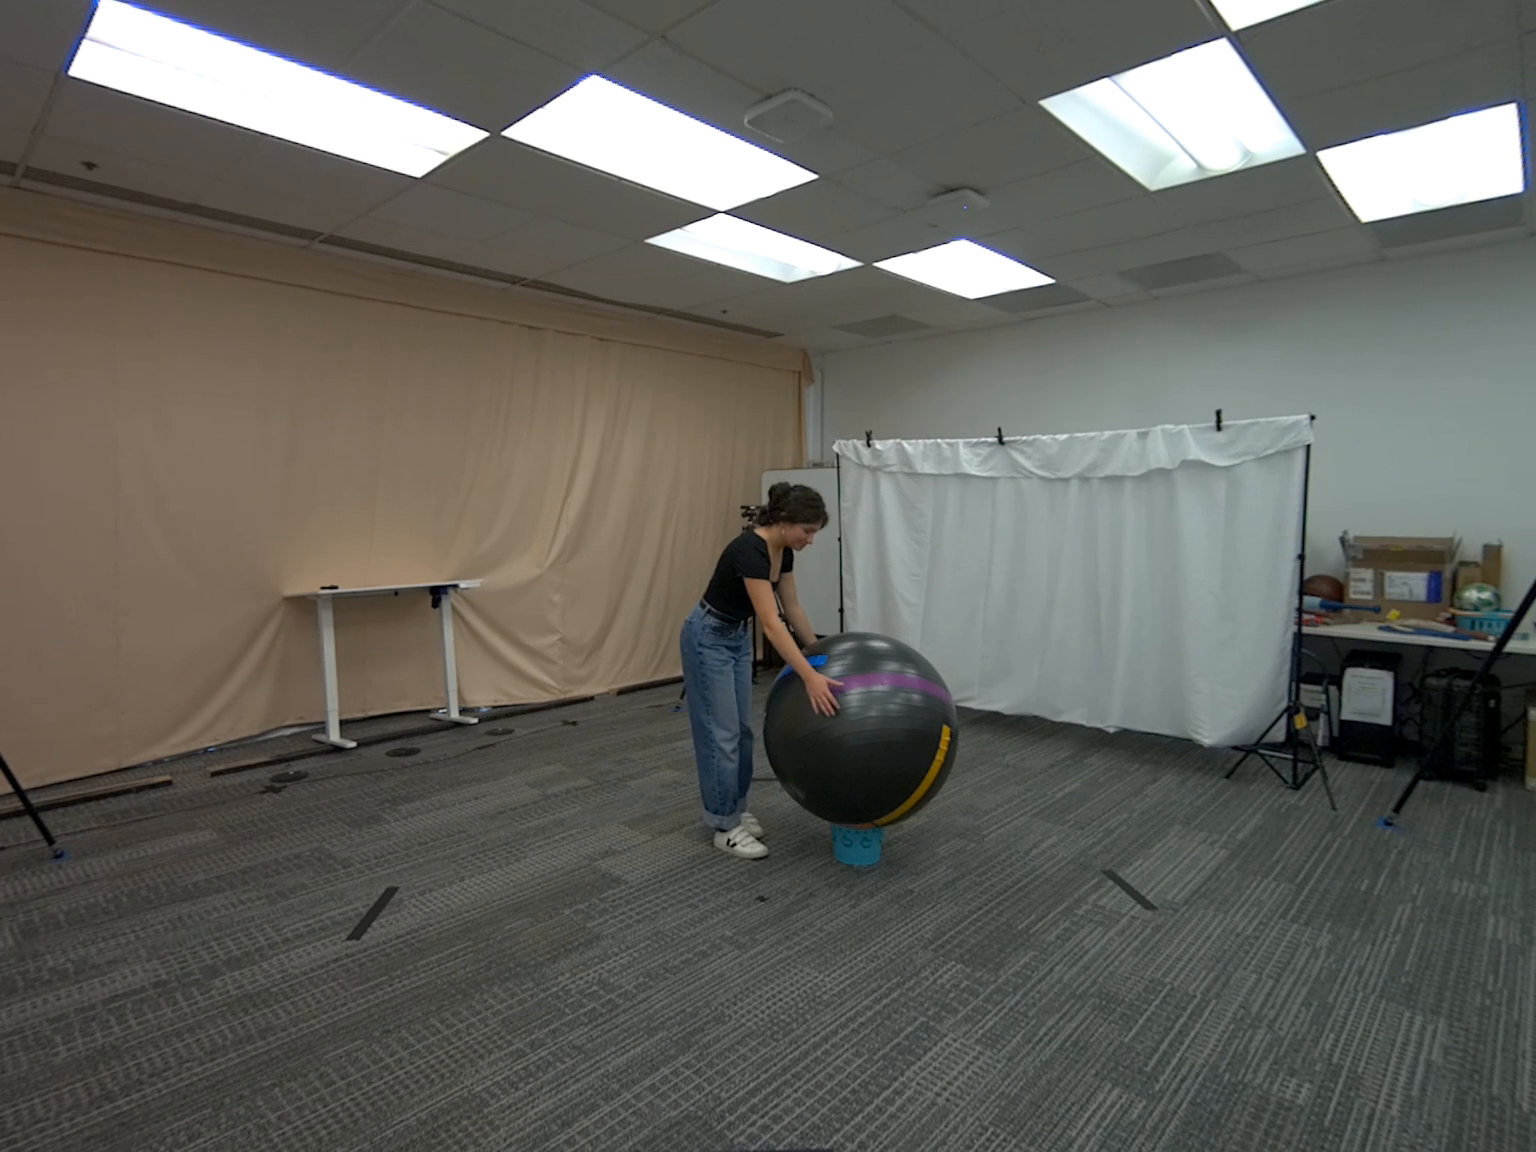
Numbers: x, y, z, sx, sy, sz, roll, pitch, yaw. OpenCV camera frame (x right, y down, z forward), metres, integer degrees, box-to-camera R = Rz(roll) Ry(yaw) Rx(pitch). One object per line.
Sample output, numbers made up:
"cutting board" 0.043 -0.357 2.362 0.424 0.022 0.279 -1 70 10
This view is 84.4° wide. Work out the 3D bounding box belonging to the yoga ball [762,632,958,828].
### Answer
"yoga ball" 0.364 0.607 3.333 0.757 0.756 0.760 0 4 -2
